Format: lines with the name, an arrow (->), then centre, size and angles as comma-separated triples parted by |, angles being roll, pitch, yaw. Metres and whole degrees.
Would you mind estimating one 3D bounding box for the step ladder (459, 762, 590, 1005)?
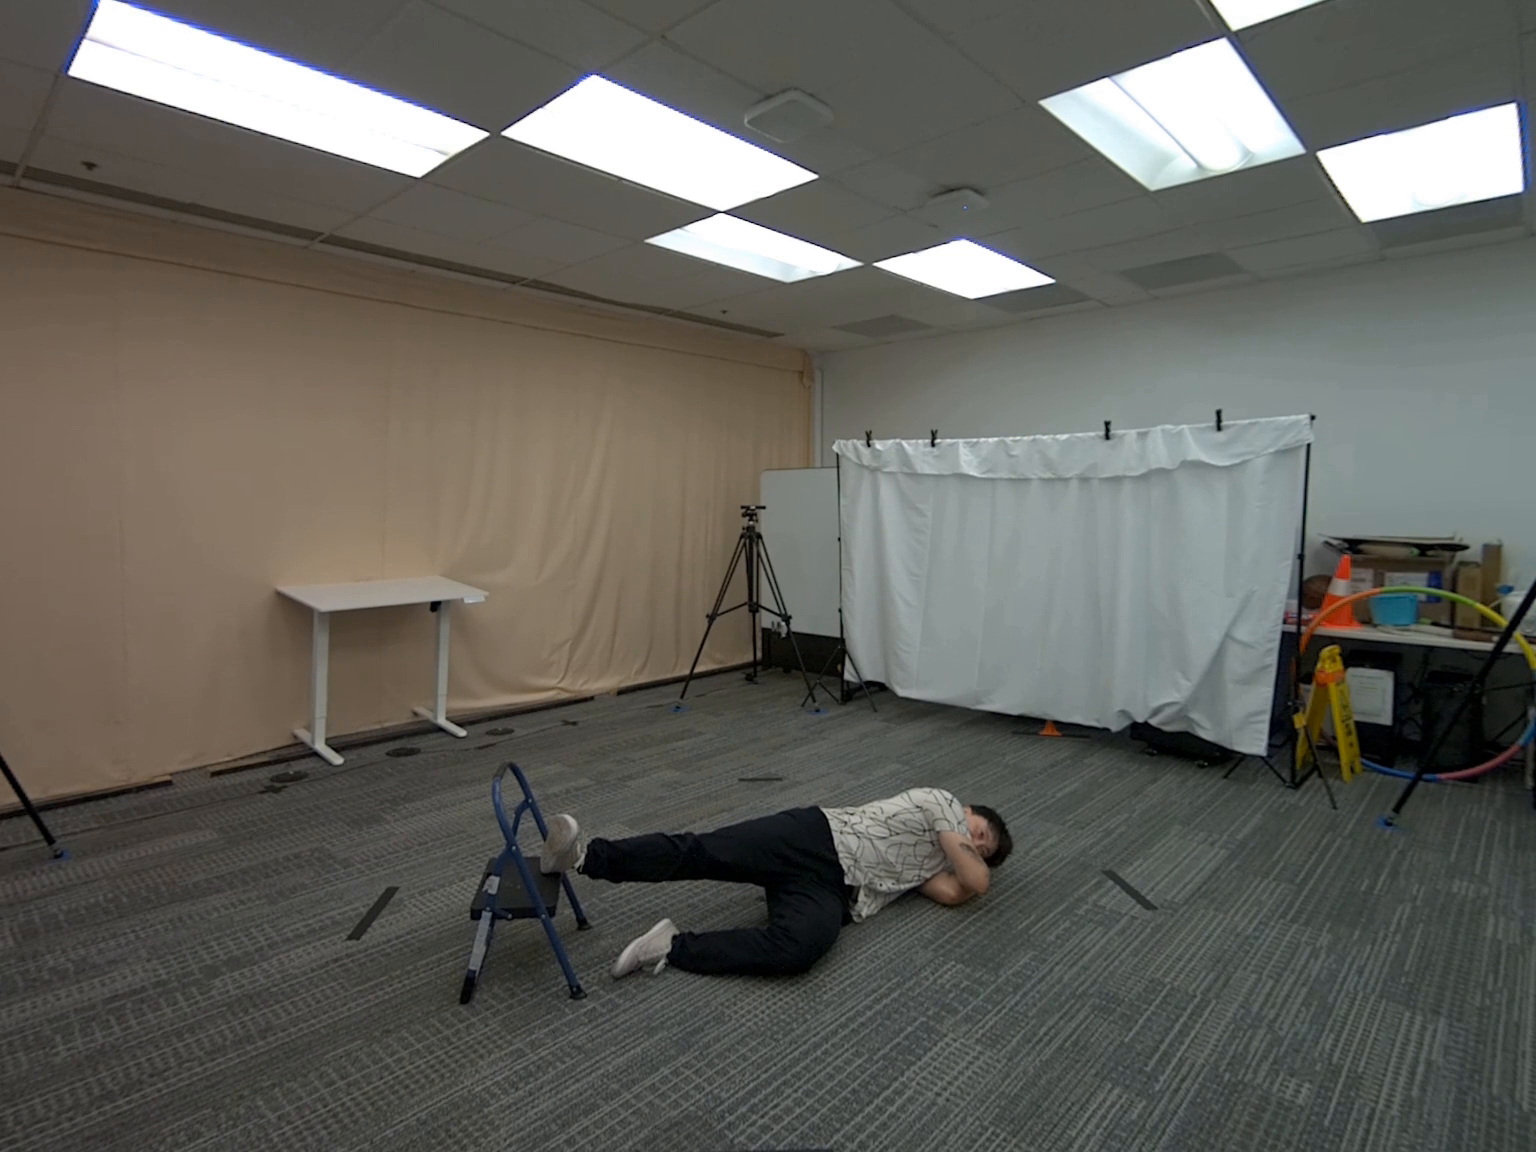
step ladder -> -0.732, 0.887, 2.556 | 0.346, 0.605, 0.435 | -1, 3, -9
